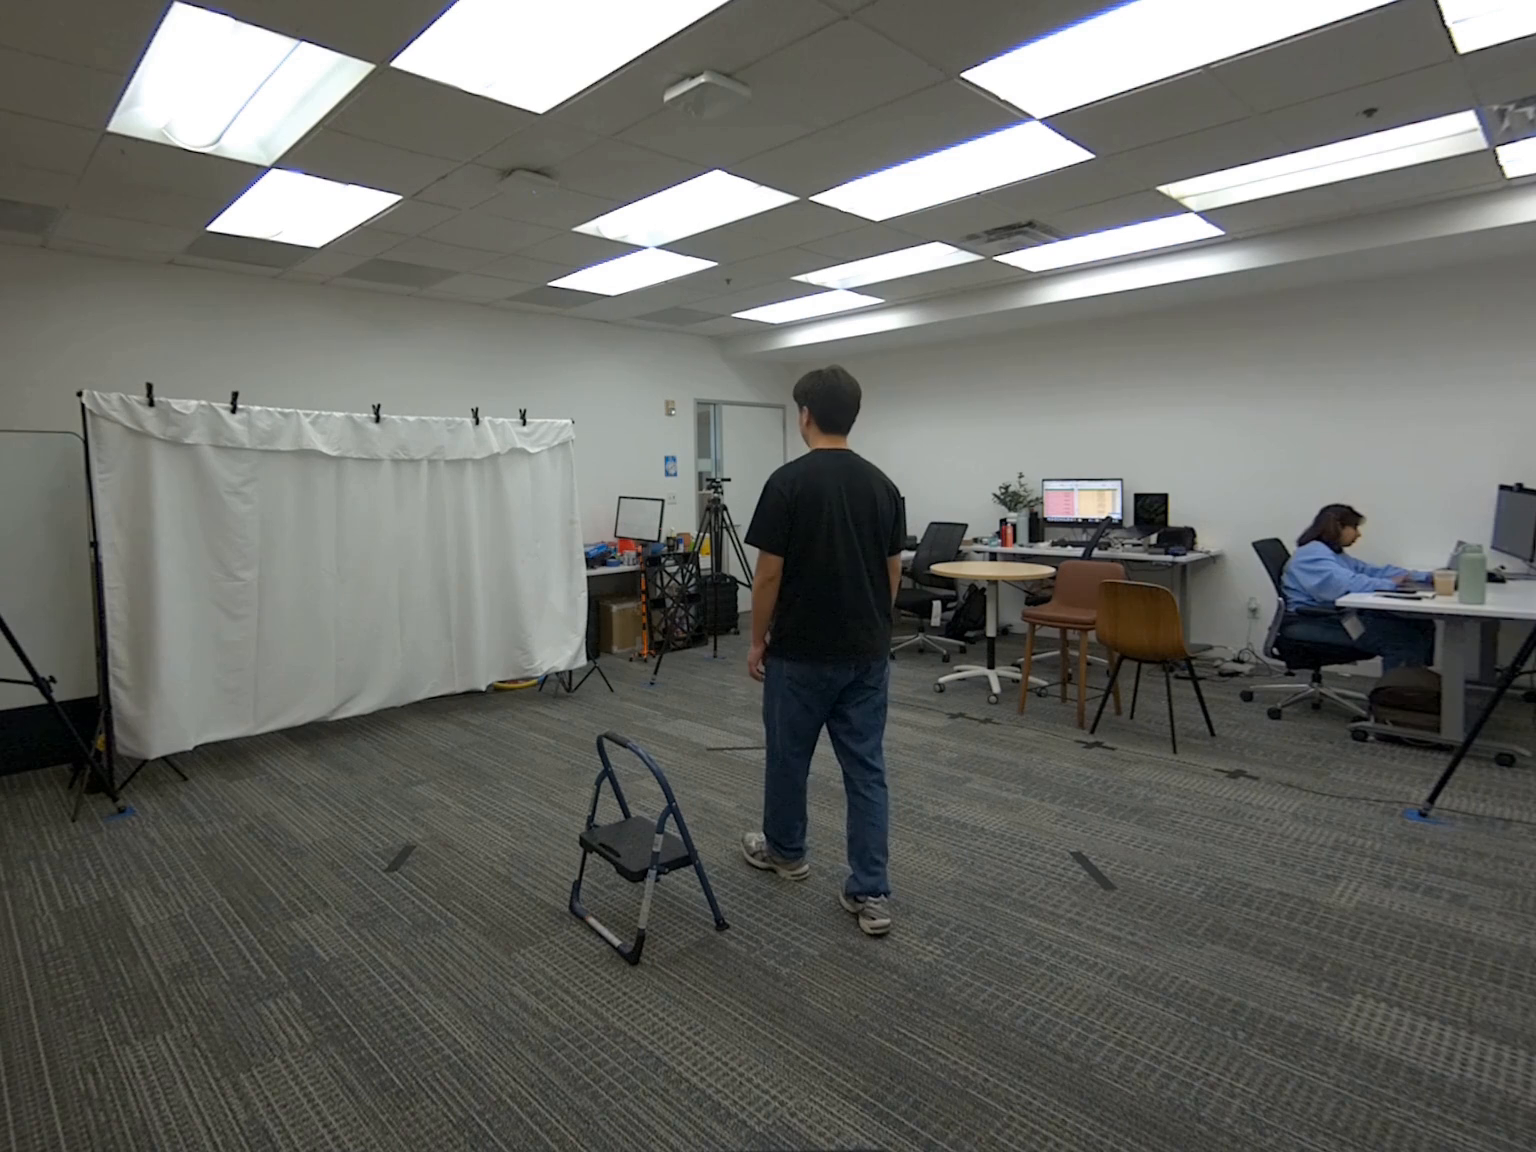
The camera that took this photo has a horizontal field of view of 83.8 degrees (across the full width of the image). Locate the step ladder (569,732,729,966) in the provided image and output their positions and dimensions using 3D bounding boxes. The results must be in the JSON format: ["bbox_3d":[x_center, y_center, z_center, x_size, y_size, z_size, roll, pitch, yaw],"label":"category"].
[{"bbox_3d":[-0.390,0.793,2.704,0.340,0.603,0.444,-5,6,-40],"label":"step ladder"}]
